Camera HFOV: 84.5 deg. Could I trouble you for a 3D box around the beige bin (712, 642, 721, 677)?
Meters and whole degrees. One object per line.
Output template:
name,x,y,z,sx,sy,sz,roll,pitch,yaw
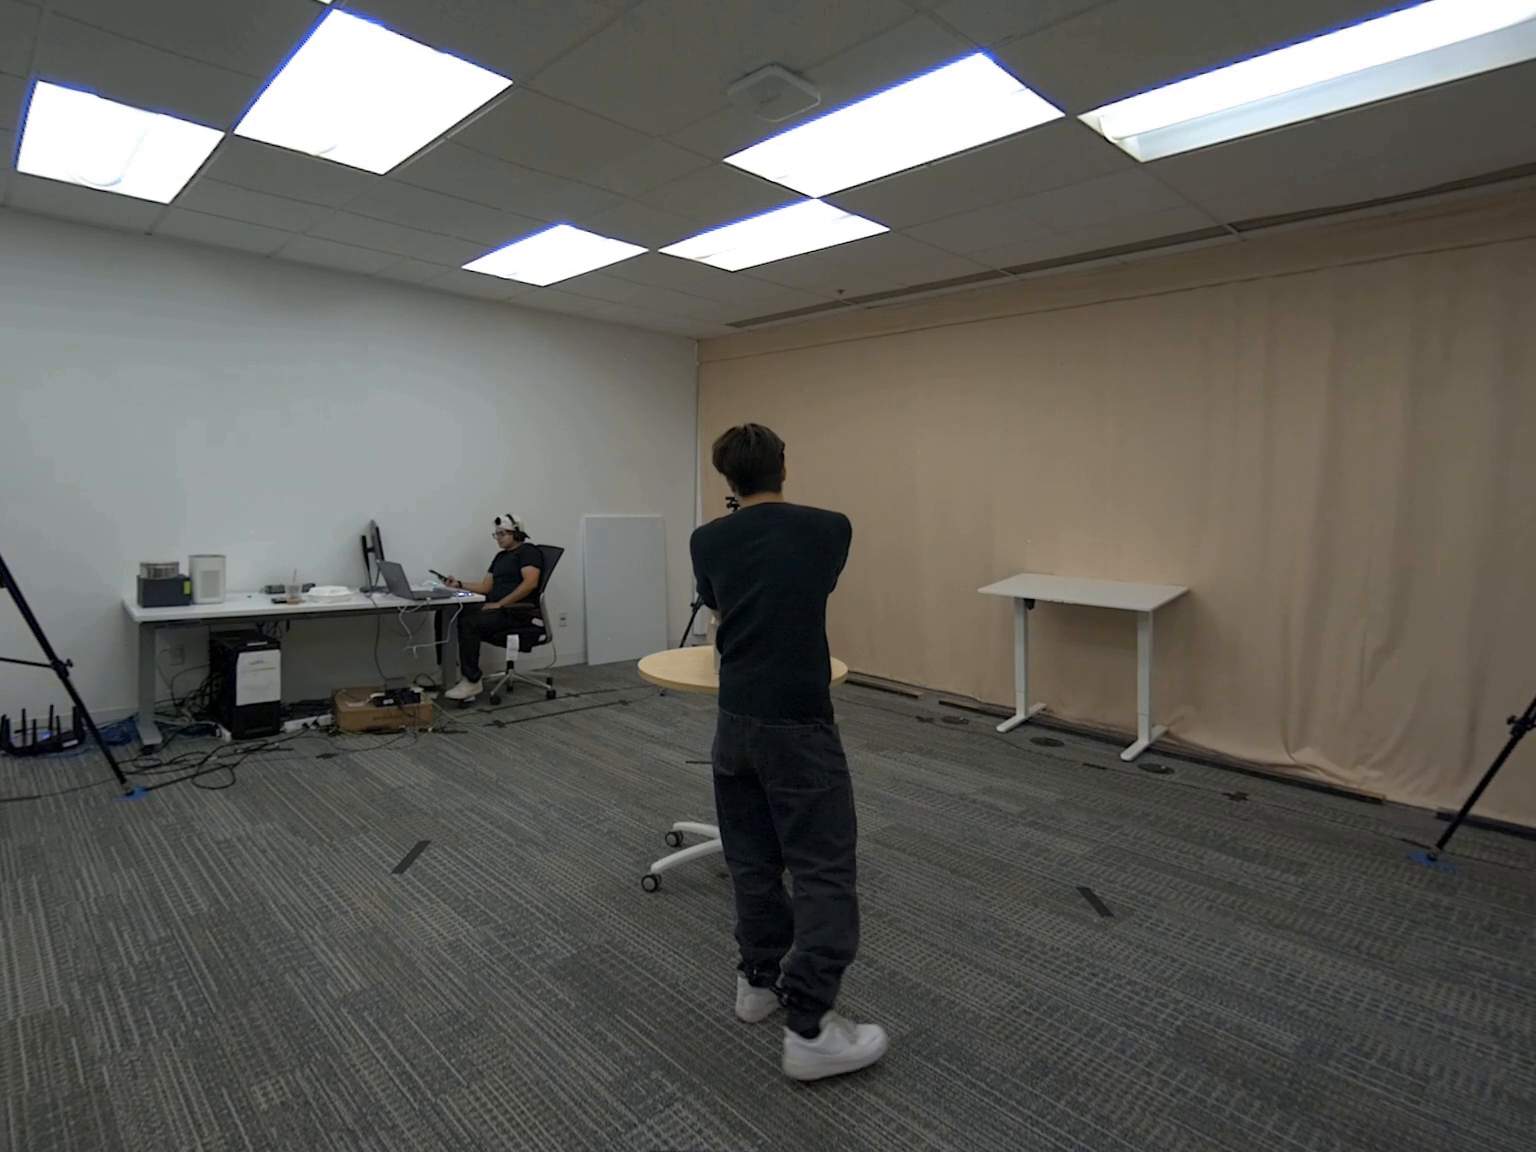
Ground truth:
beige bin,-0.003,0.235,3.106,0.378,0.188,0.423,0,5,1
